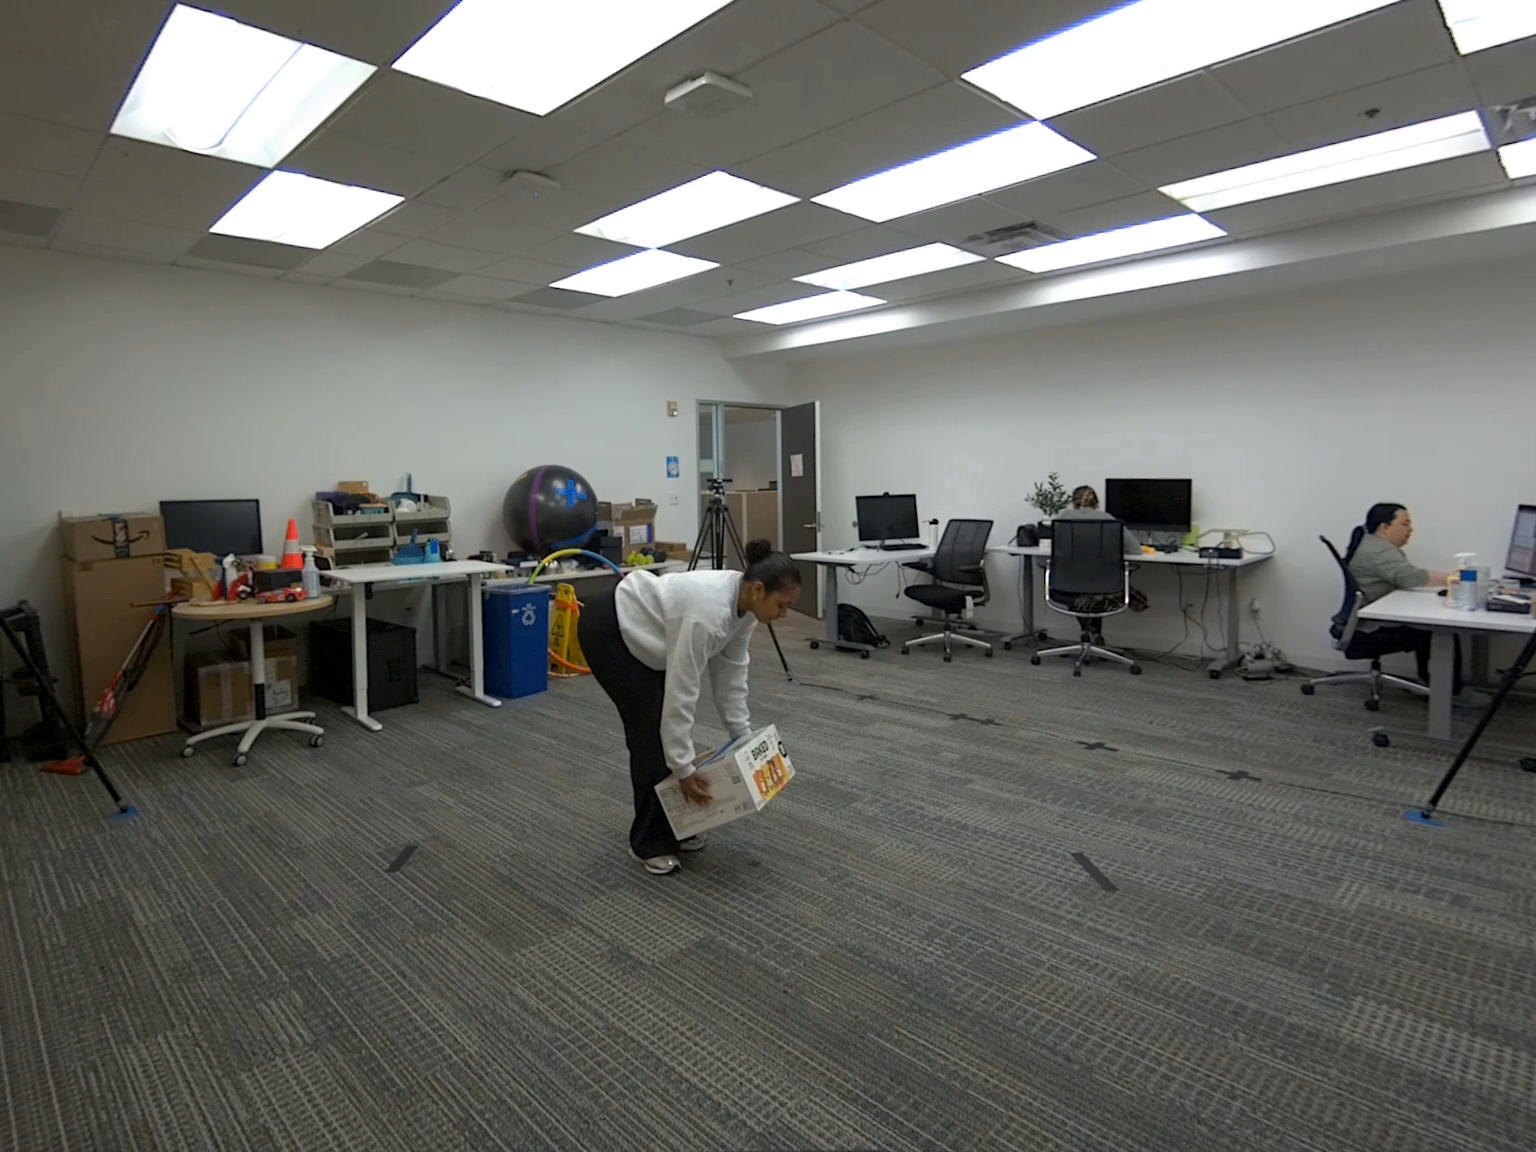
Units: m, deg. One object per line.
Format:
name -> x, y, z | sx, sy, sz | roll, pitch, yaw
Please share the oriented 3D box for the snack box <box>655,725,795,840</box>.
snack box -> -0.138, 0.731, 3.077 | 0.344, 0.207, 0.398 | -25, -4, 21
